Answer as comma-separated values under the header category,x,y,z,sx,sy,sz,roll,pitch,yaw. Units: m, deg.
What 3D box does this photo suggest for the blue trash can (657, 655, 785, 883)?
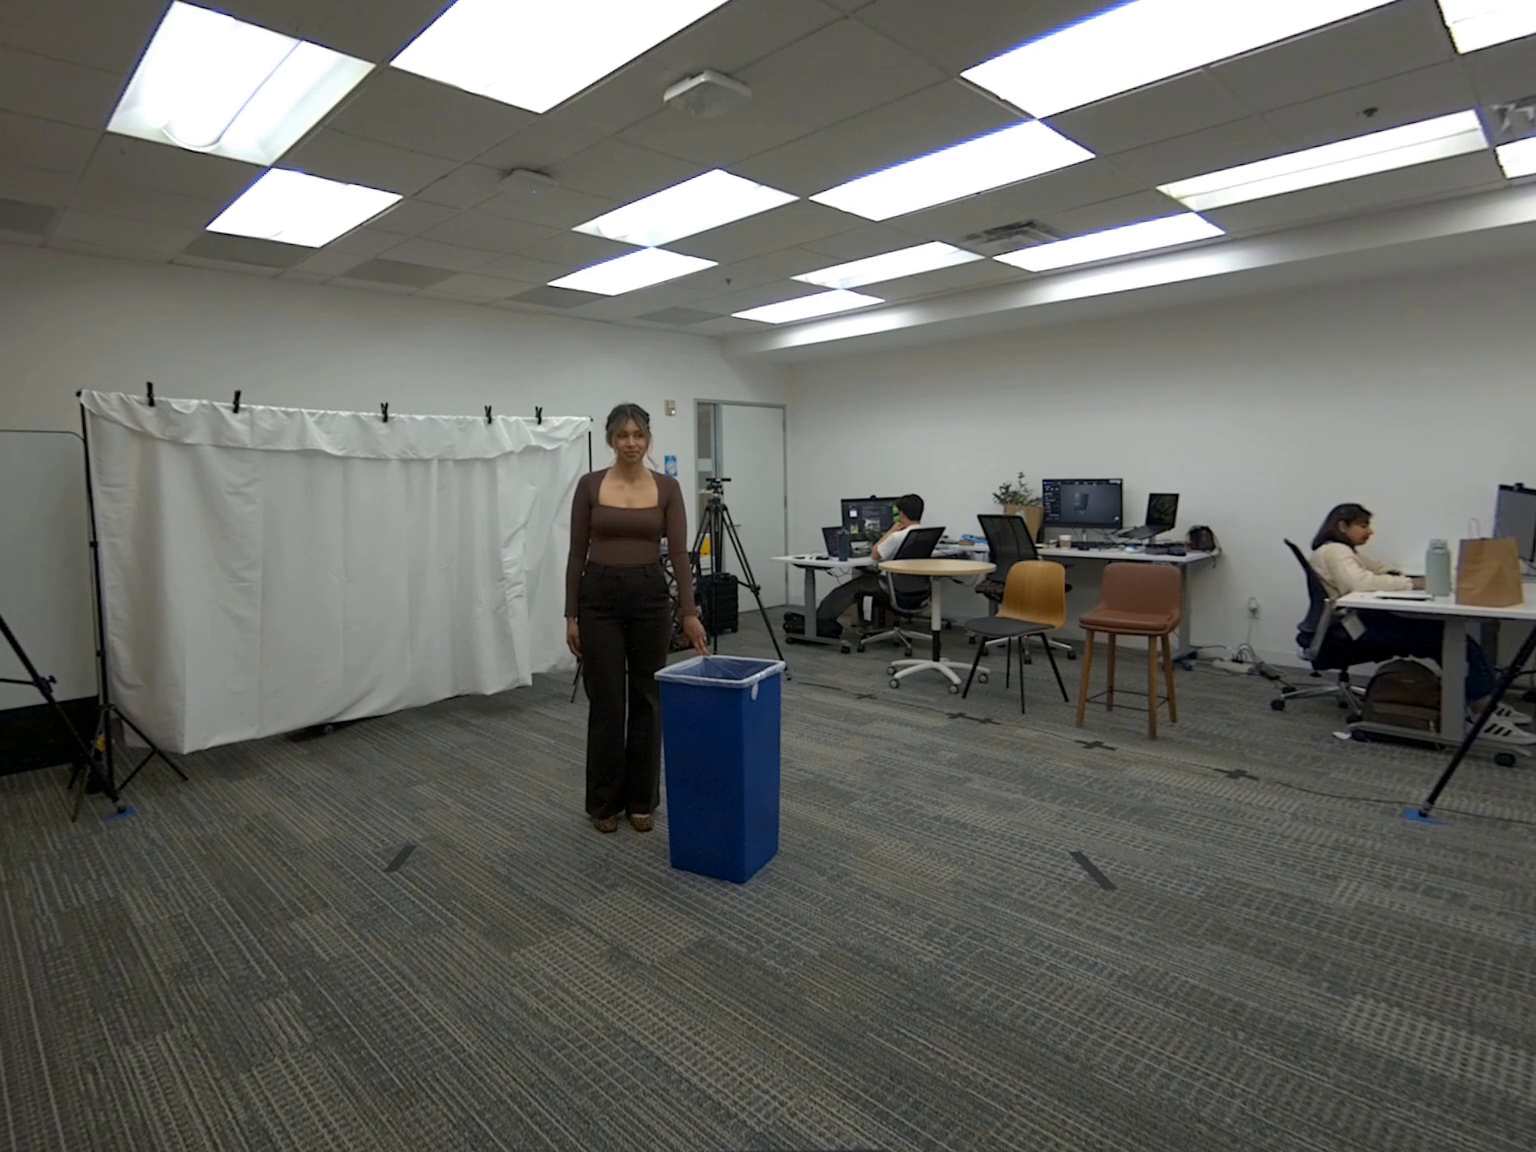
category,x,y,z,sx,sy,sz,roll,pitch,yaw
blue trash can,-0.166,0.683,3.118,0.383,0.711,0.370,2,4,27
